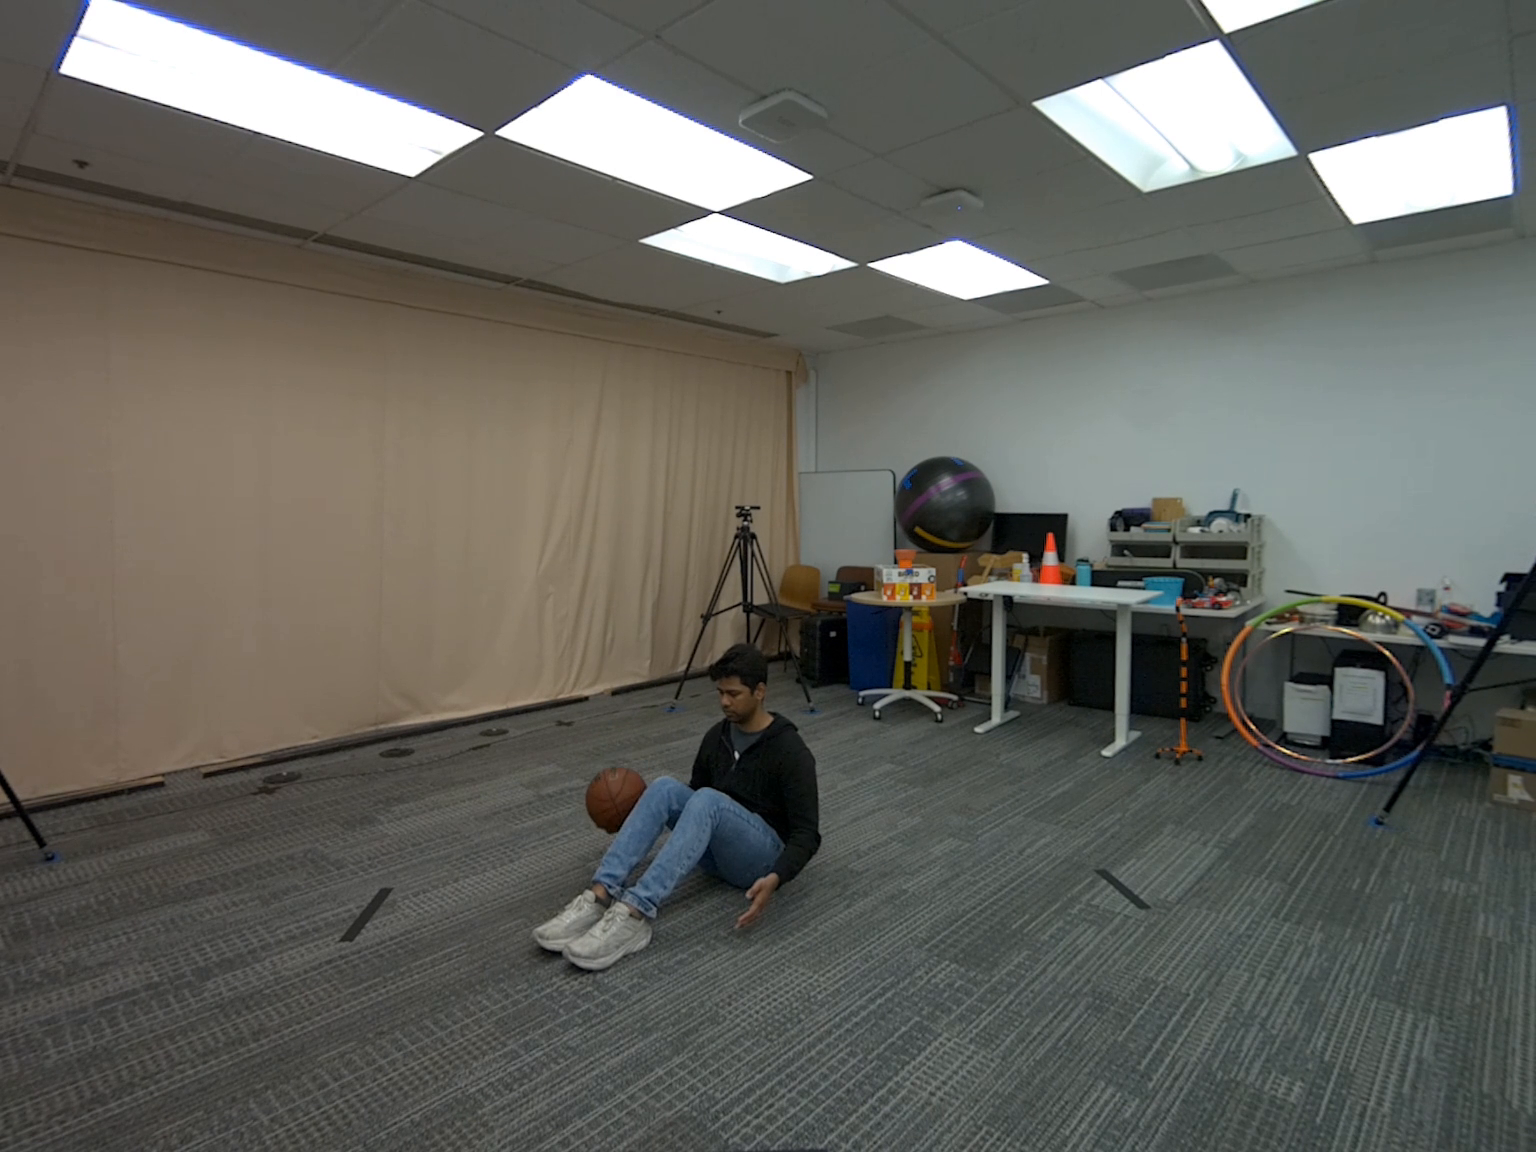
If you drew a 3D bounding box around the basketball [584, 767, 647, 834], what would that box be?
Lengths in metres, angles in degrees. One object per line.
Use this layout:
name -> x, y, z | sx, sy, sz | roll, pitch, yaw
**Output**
basketball -> -0.557, 0.840, 3.171 | 0.236, 0.235, 0.237 | 0, 4, -2
